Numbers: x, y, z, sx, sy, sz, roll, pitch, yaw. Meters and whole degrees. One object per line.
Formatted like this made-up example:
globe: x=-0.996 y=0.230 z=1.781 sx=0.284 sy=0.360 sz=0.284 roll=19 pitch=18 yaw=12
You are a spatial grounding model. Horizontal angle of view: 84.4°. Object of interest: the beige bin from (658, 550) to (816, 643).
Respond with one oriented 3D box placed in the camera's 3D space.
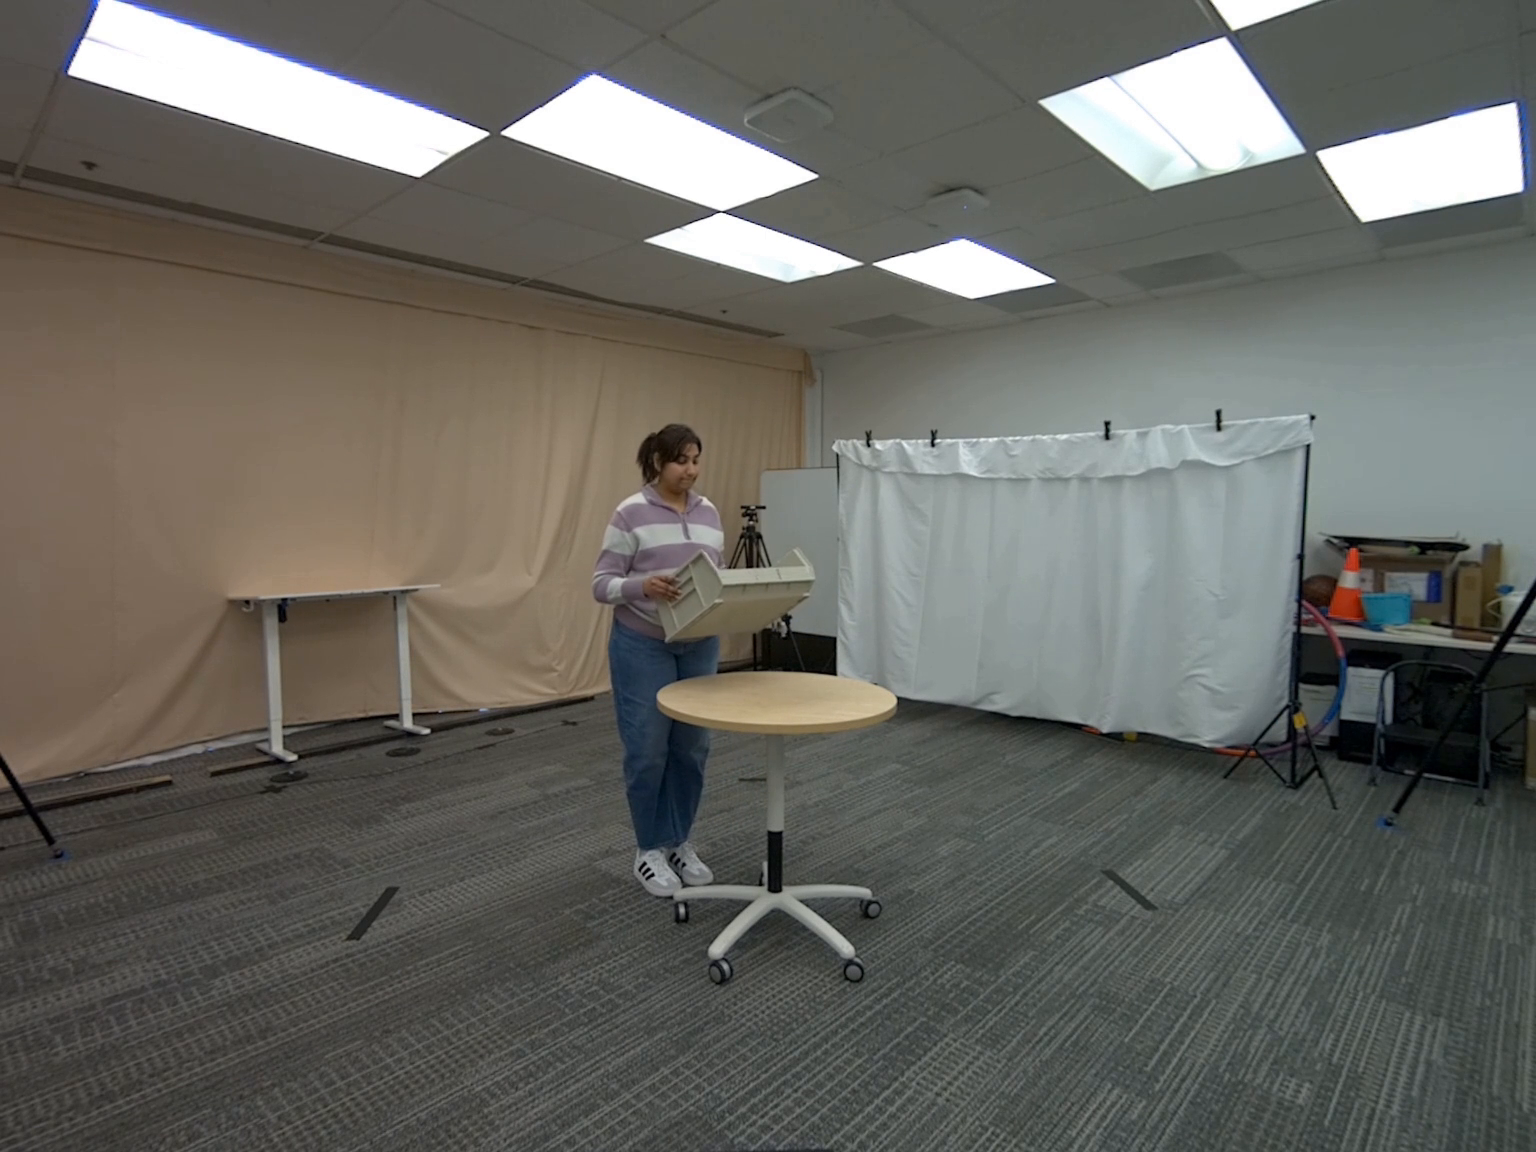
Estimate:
beige bin: x=-0.108 y=0.057 z=2.839 sx=0.409 sy=0.192 sz=0.382 roll=-2 pitch=-25 yaw=-41
